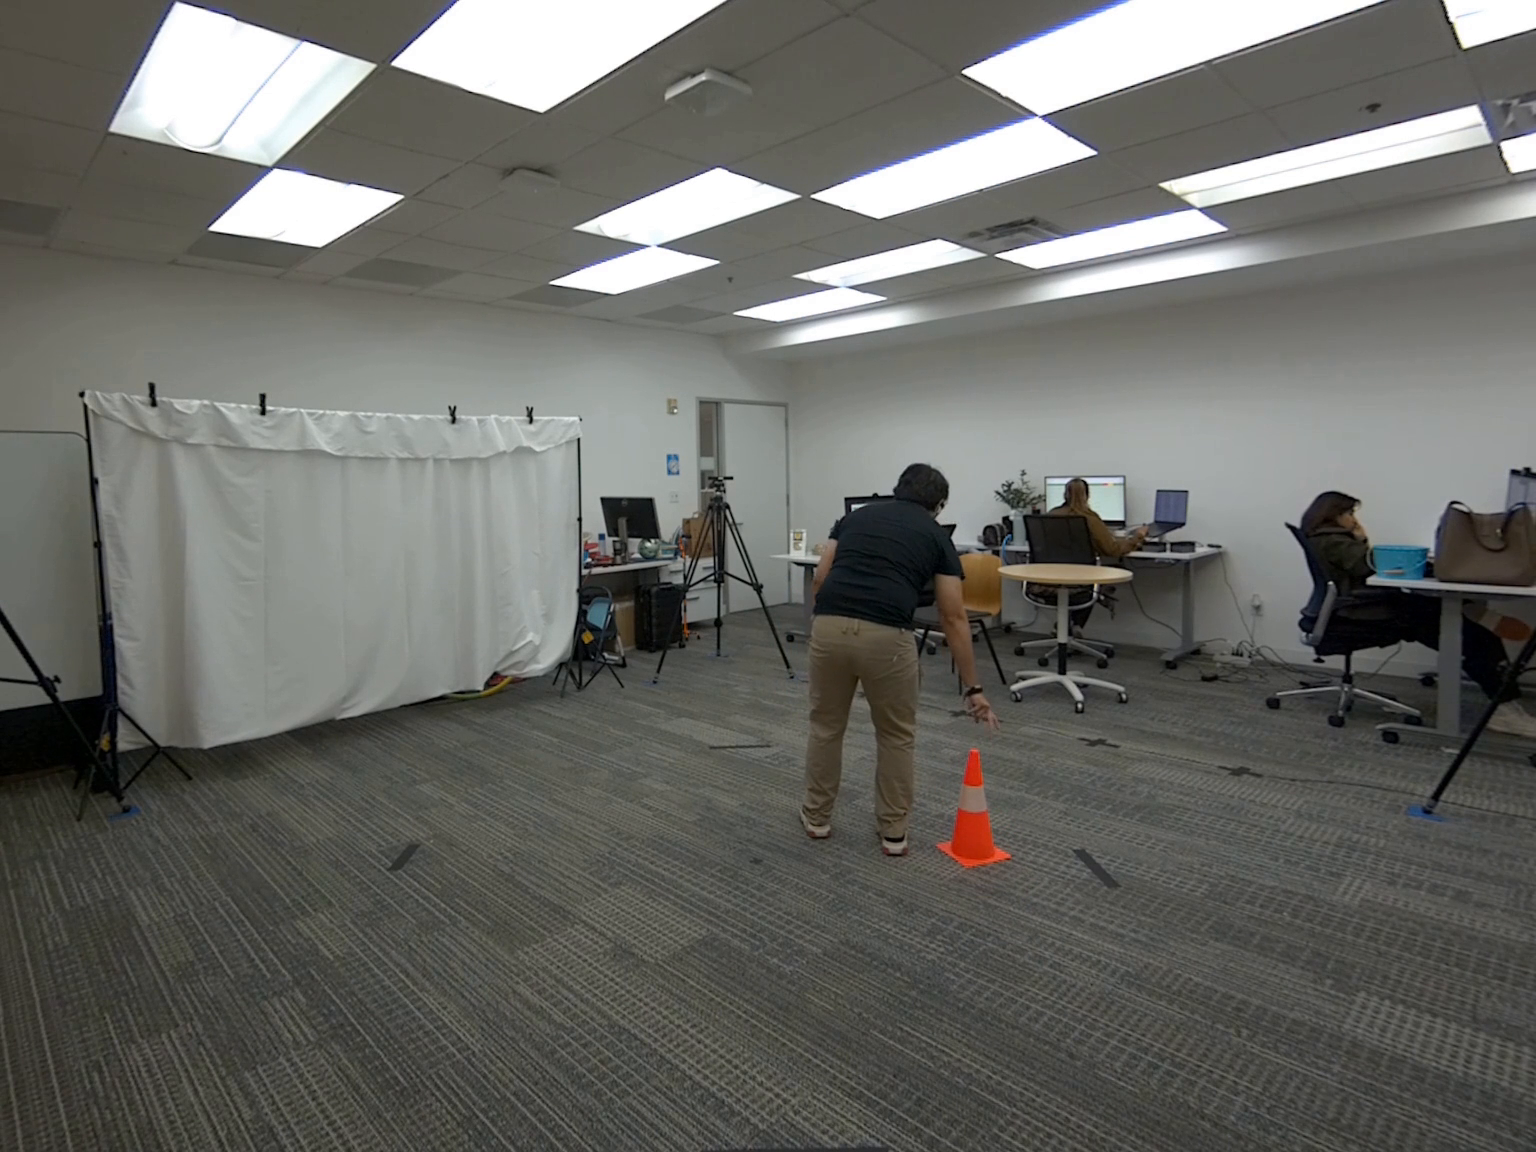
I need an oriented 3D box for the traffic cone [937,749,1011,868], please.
[{"bbox_3d":[0.764,0.837,3.136,0.200,0.382,0.209,-3,4,-19],"label":"traffic cone"}]
